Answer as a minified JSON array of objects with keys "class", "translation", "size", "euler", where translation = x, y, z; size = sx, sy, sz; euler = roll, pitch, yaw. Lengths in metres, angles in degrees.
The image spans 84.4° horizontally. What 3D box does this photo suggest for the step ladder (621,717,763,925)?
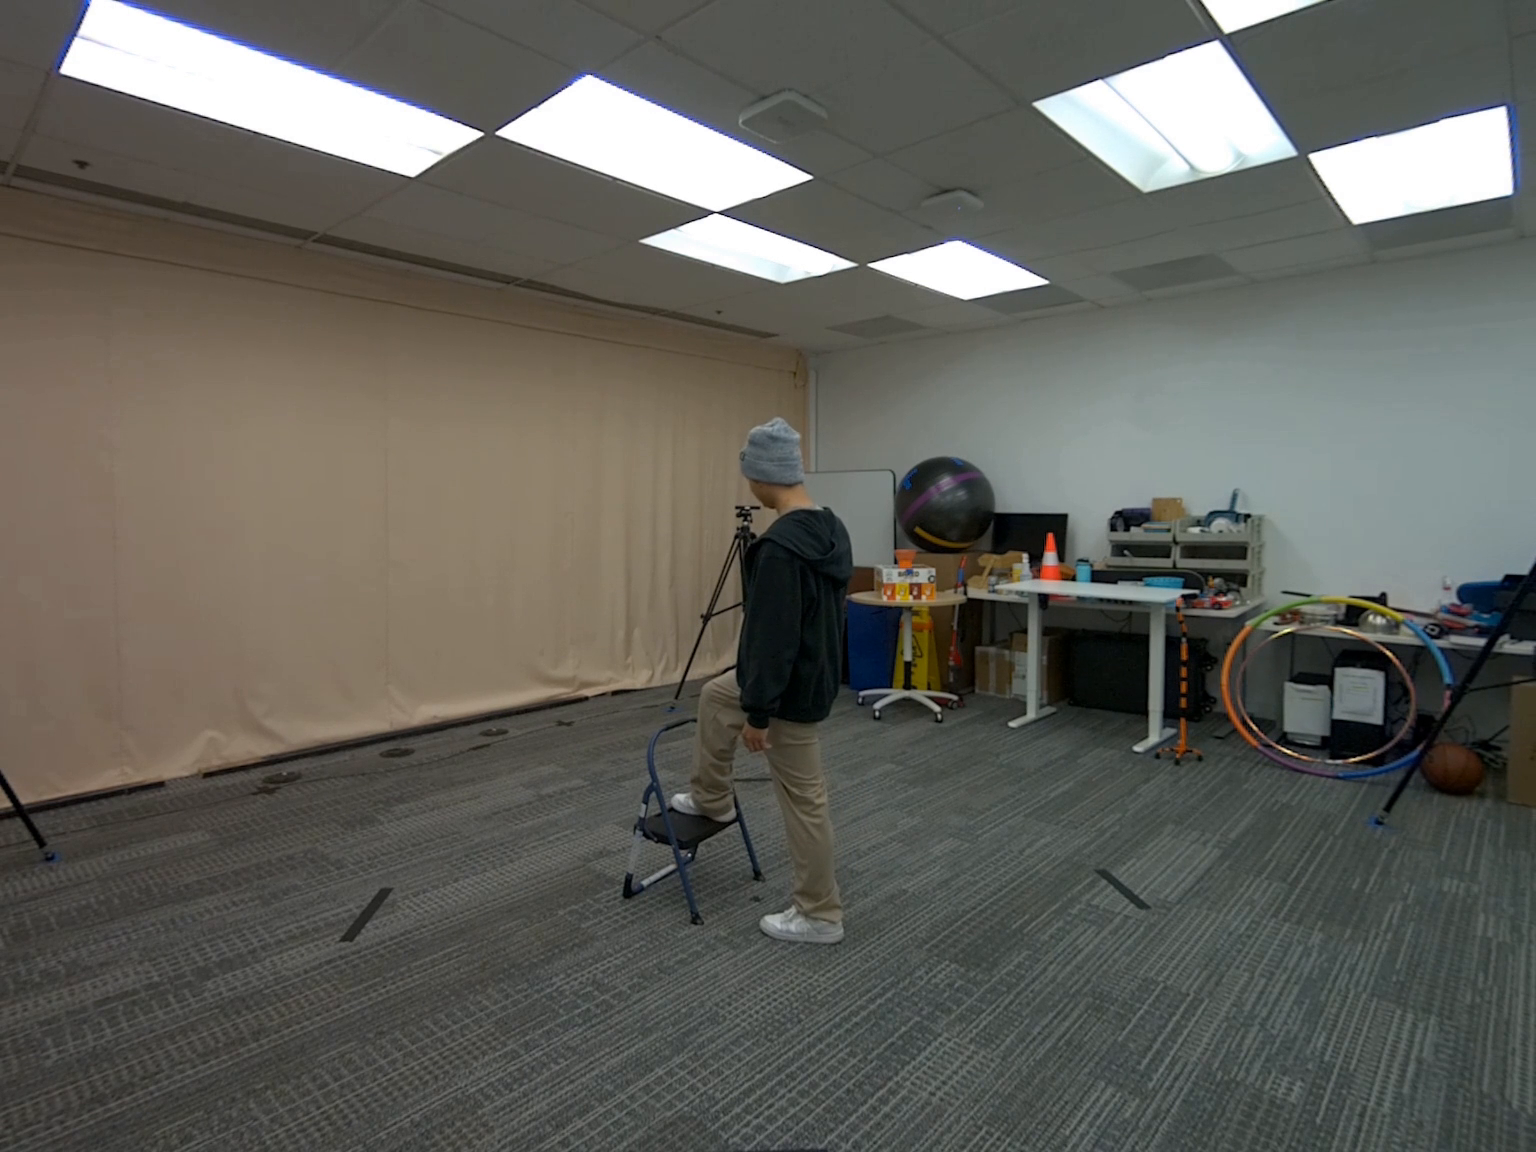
[{"class":"step ladder","translation":[-0.268,0.837,3.055],"size":[0.360,0.605,0.419],"euler":[2,4,32]}]
